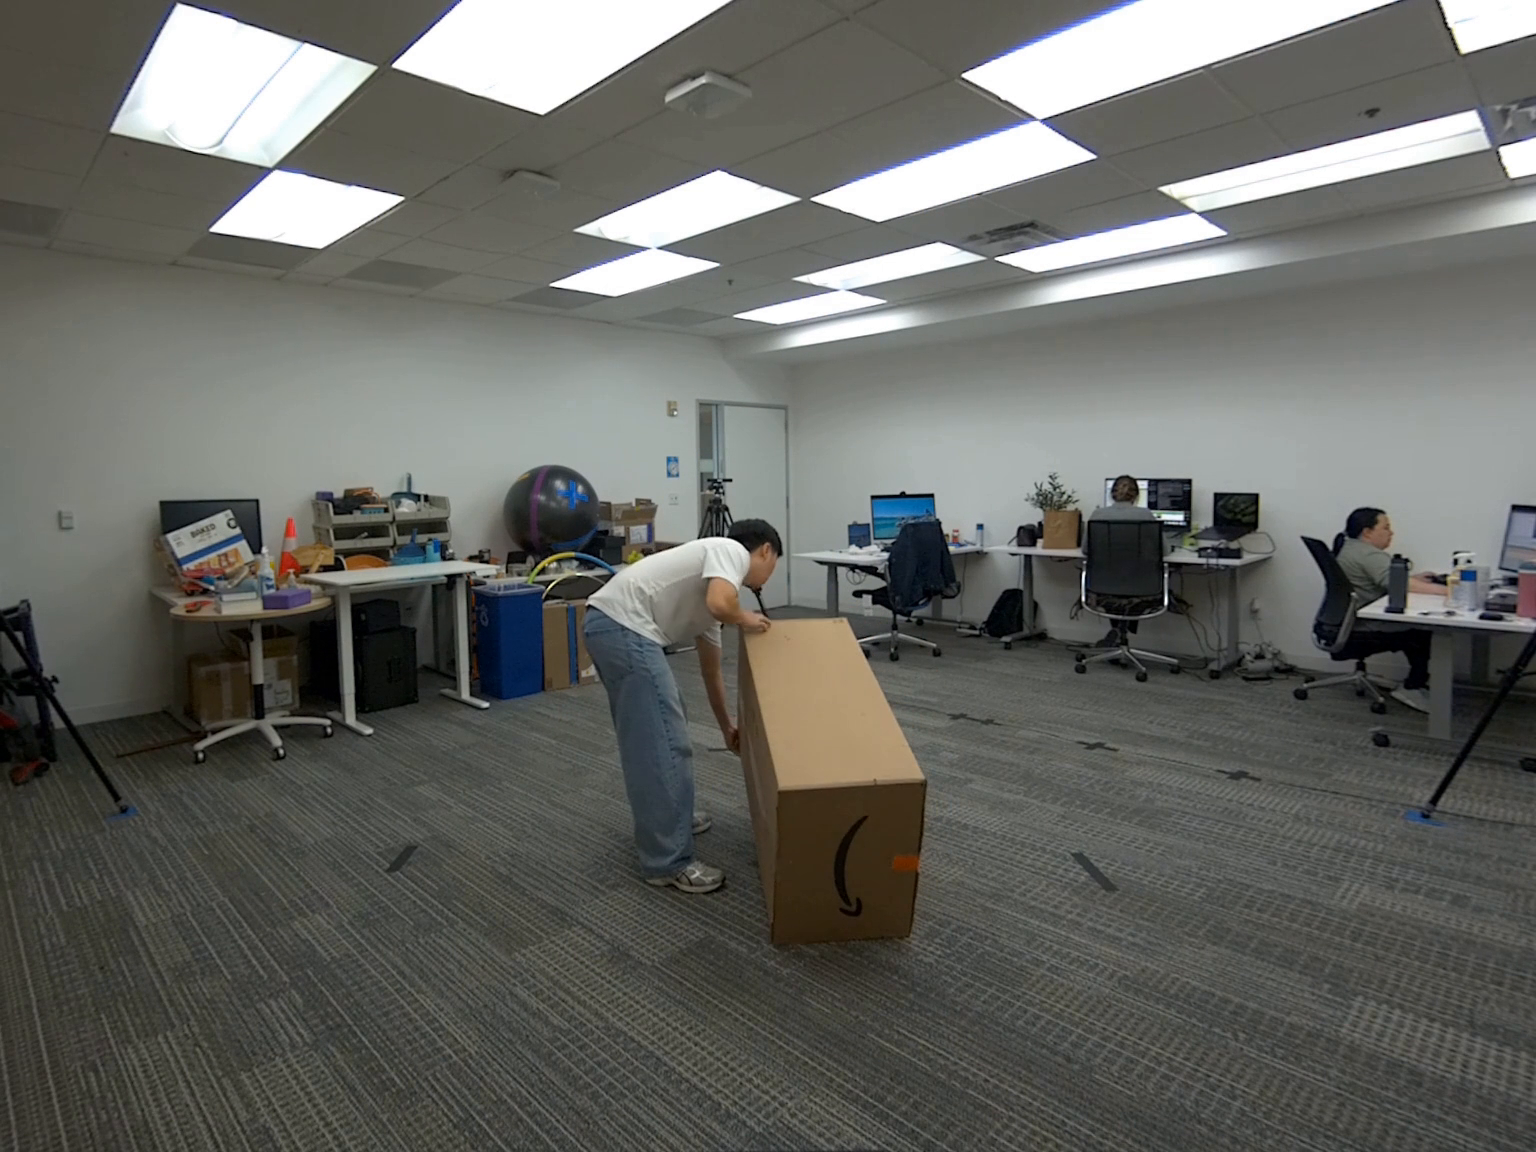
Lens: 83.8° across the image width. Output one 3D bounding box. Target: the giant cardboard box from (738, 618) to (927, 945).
[{"bbox_3d":[0.175,0.638,2.941,0.423,0.567,1.052,-2,24,-8],"label":"giant cardboard box"}]
